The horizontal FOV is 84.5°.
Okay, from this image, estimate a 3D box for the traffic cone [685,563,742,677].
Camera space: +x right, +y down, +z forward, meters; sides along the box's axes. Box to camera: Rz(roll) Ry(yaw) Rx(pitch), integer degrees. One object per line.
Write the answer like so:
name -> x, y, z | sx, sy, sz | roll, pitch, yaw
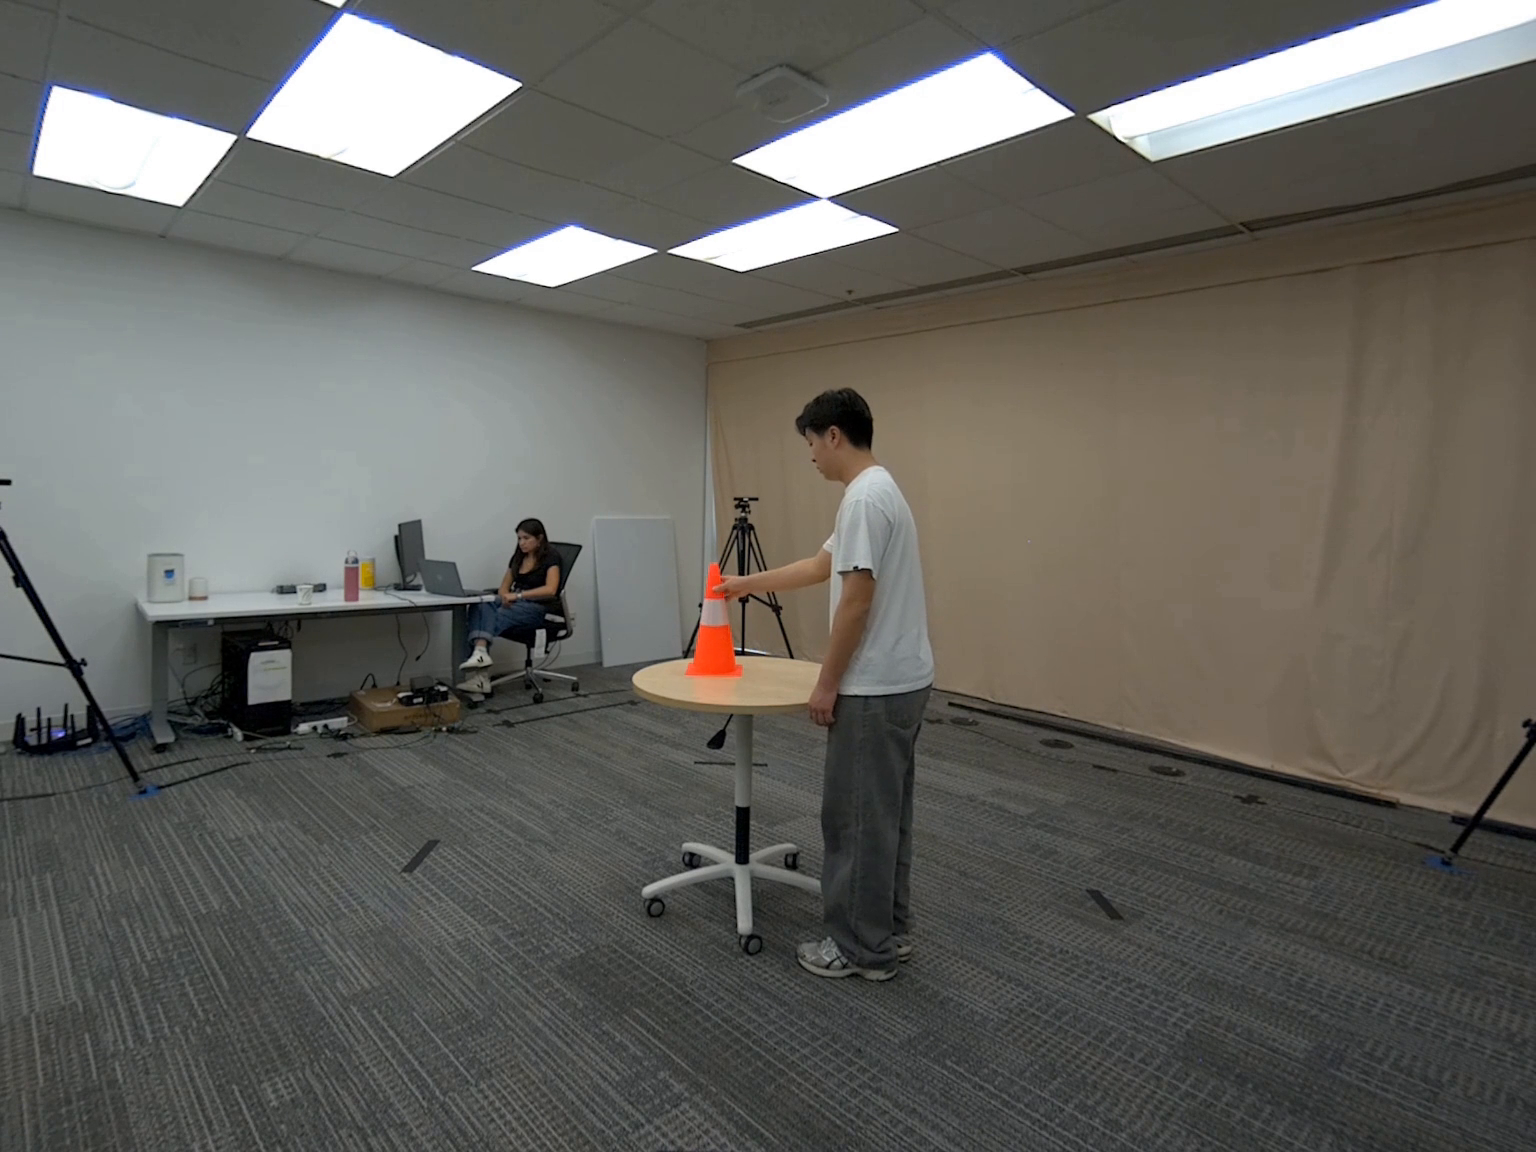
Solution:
traffic cone -> -0.188, 0.145, 2.966 | 0.203, 0.383, 0.205 | 2, 3, 0
